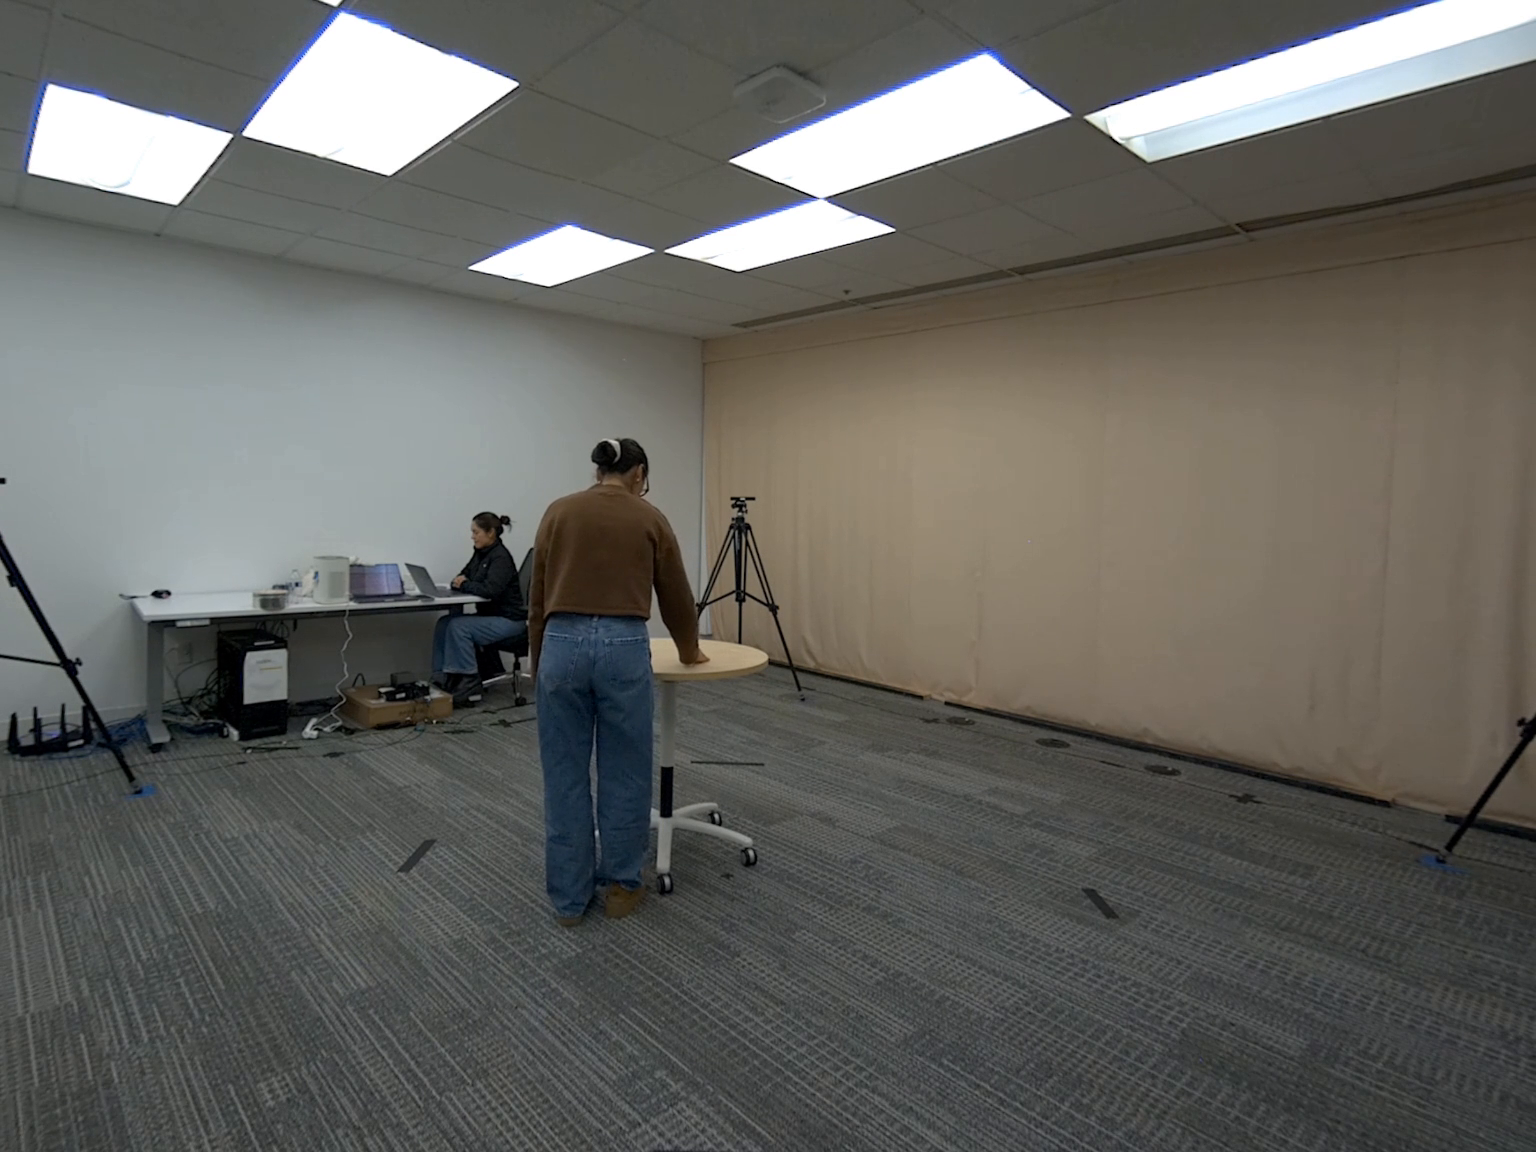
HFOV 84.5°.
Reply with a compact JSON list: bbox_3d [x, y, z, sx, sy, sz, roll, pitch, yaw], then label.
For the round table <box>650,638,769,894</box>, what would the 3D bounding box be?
[{"bbox_3d":[-0.400,0.699,3.296,0.763,0.792,0.766,1,3,-1],"label":"round table"}]
